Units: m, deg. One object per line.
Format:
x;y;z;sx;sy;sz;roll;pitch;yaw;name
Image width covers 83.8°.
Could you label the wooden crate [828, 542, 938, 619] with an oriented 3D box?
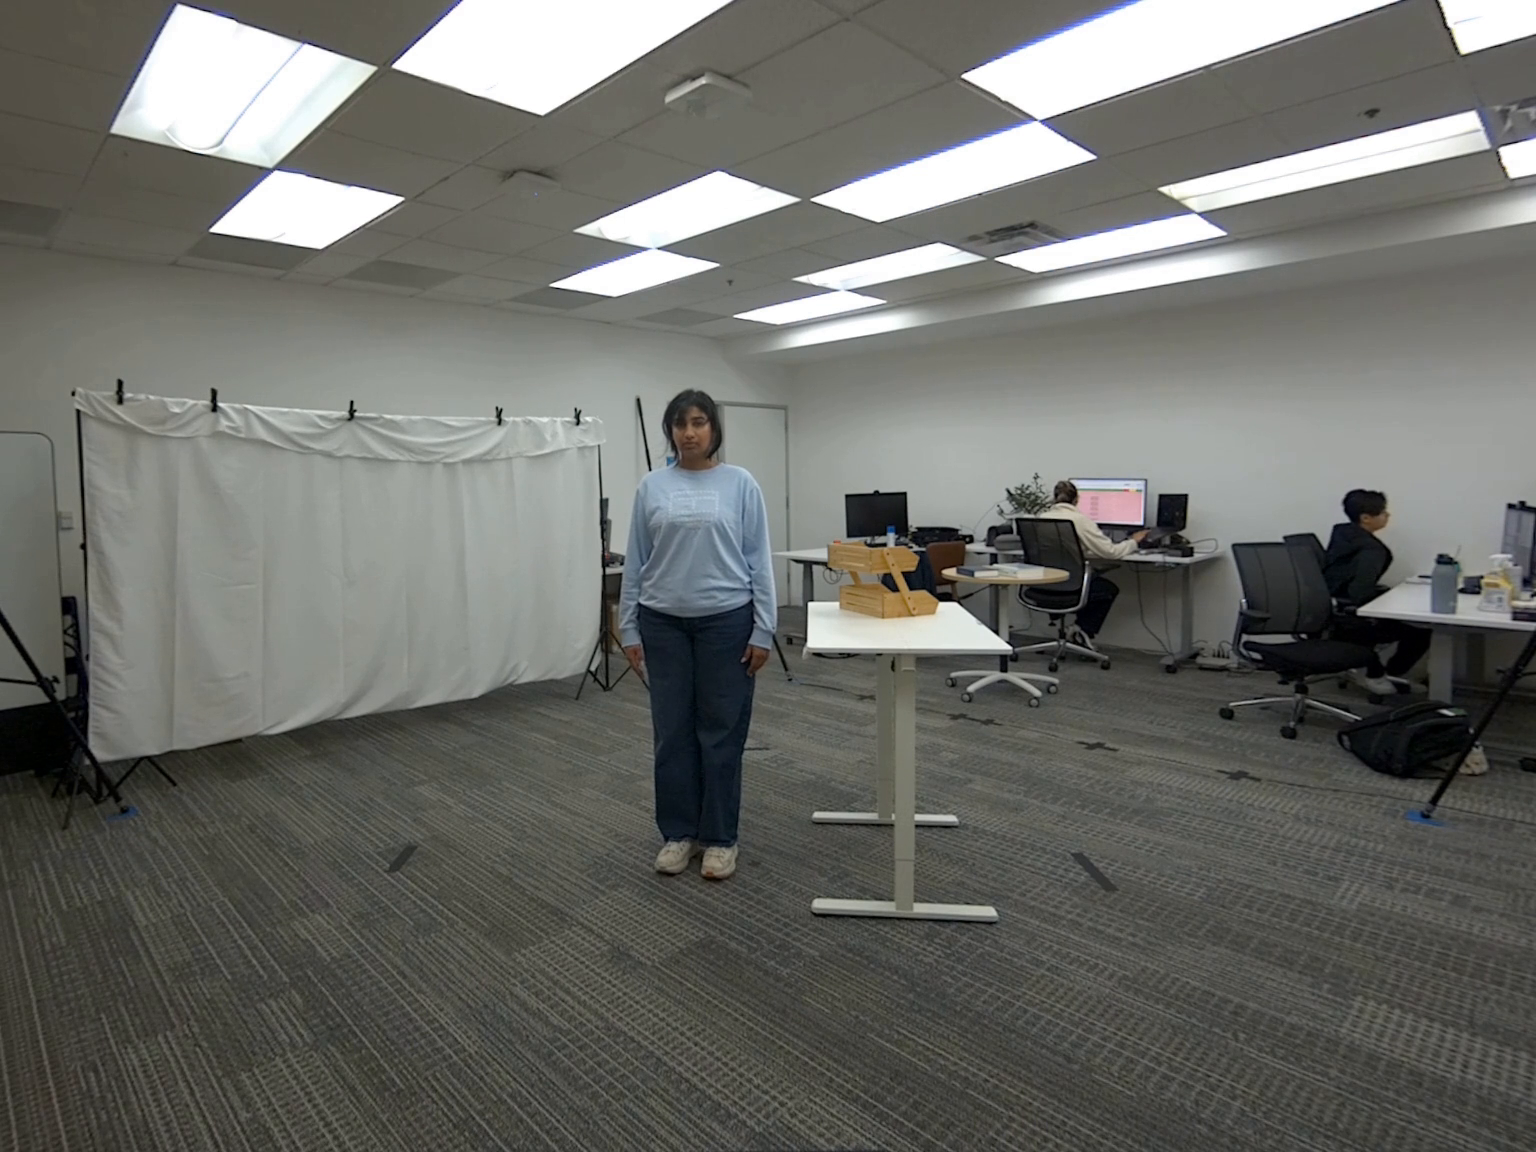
0.442;0.005;3.273;0.296;0.272;0.333;-4;6;-26;wooden crate
